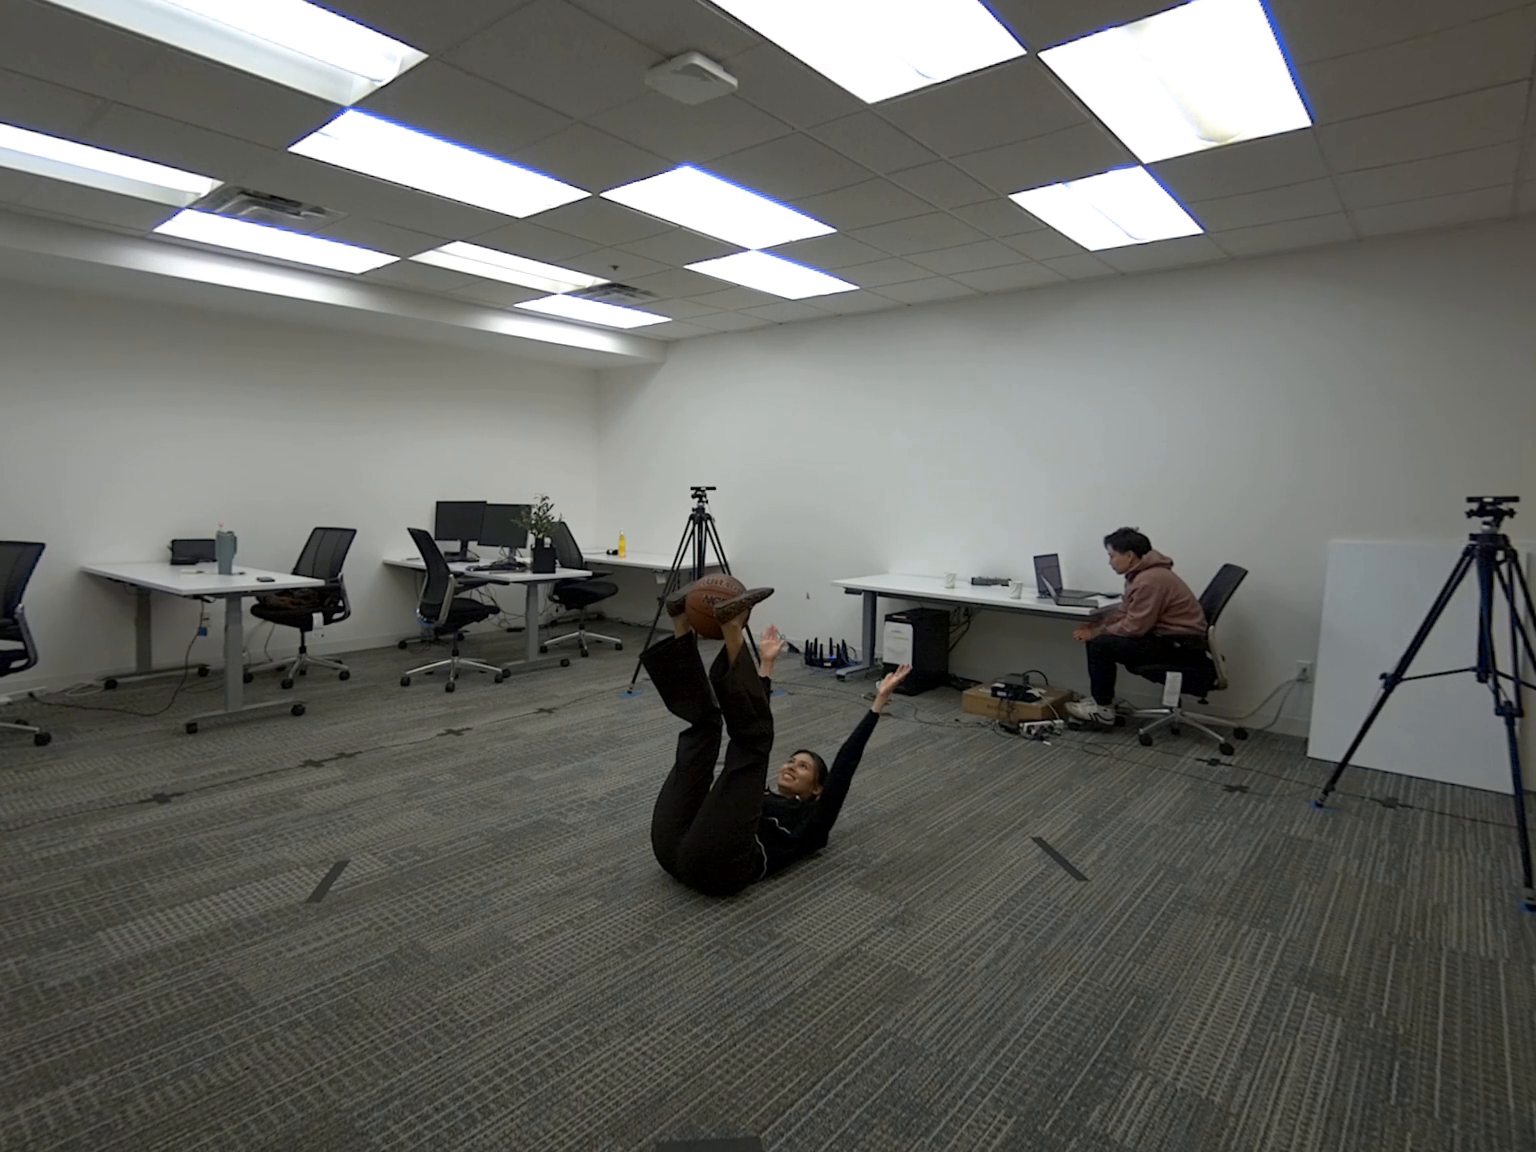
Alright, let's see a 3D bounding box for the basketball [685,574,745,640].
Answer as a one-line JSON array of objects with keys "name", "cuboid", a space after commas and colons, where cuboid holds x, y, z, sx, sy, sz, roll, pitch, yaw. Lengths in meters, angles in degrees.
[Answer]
[{"name": "basketball", "cuboid": [-0.186, 0.104, 3.022, 0.236, 0.235, 0.237, 1, 4, -2]}]
